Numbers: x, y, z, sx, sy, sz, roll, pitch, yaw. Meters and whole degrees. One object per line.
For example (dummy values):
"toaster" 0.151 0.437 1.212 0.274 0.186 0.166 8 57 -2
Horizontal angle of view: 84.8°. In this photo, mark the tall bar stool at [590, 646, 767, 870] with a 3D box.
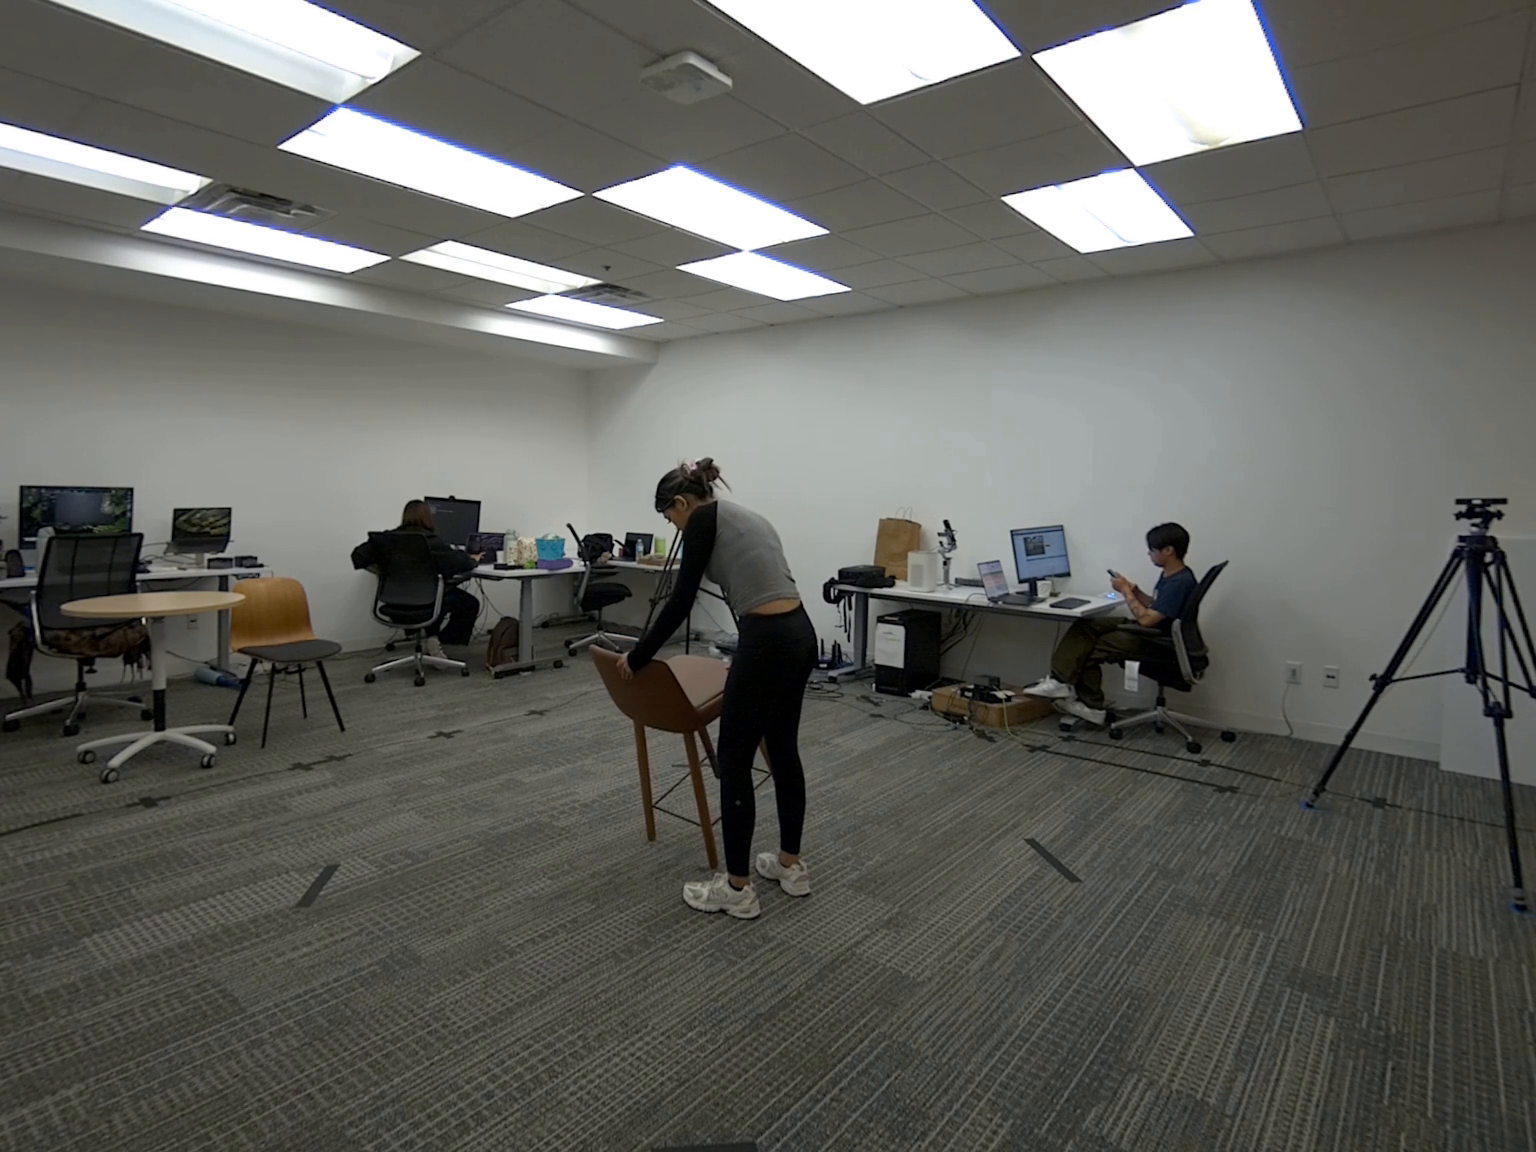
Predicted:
"tall bar stool" -0.314 0.575 3.256 0.472 0.871 0.462 4 26 43
